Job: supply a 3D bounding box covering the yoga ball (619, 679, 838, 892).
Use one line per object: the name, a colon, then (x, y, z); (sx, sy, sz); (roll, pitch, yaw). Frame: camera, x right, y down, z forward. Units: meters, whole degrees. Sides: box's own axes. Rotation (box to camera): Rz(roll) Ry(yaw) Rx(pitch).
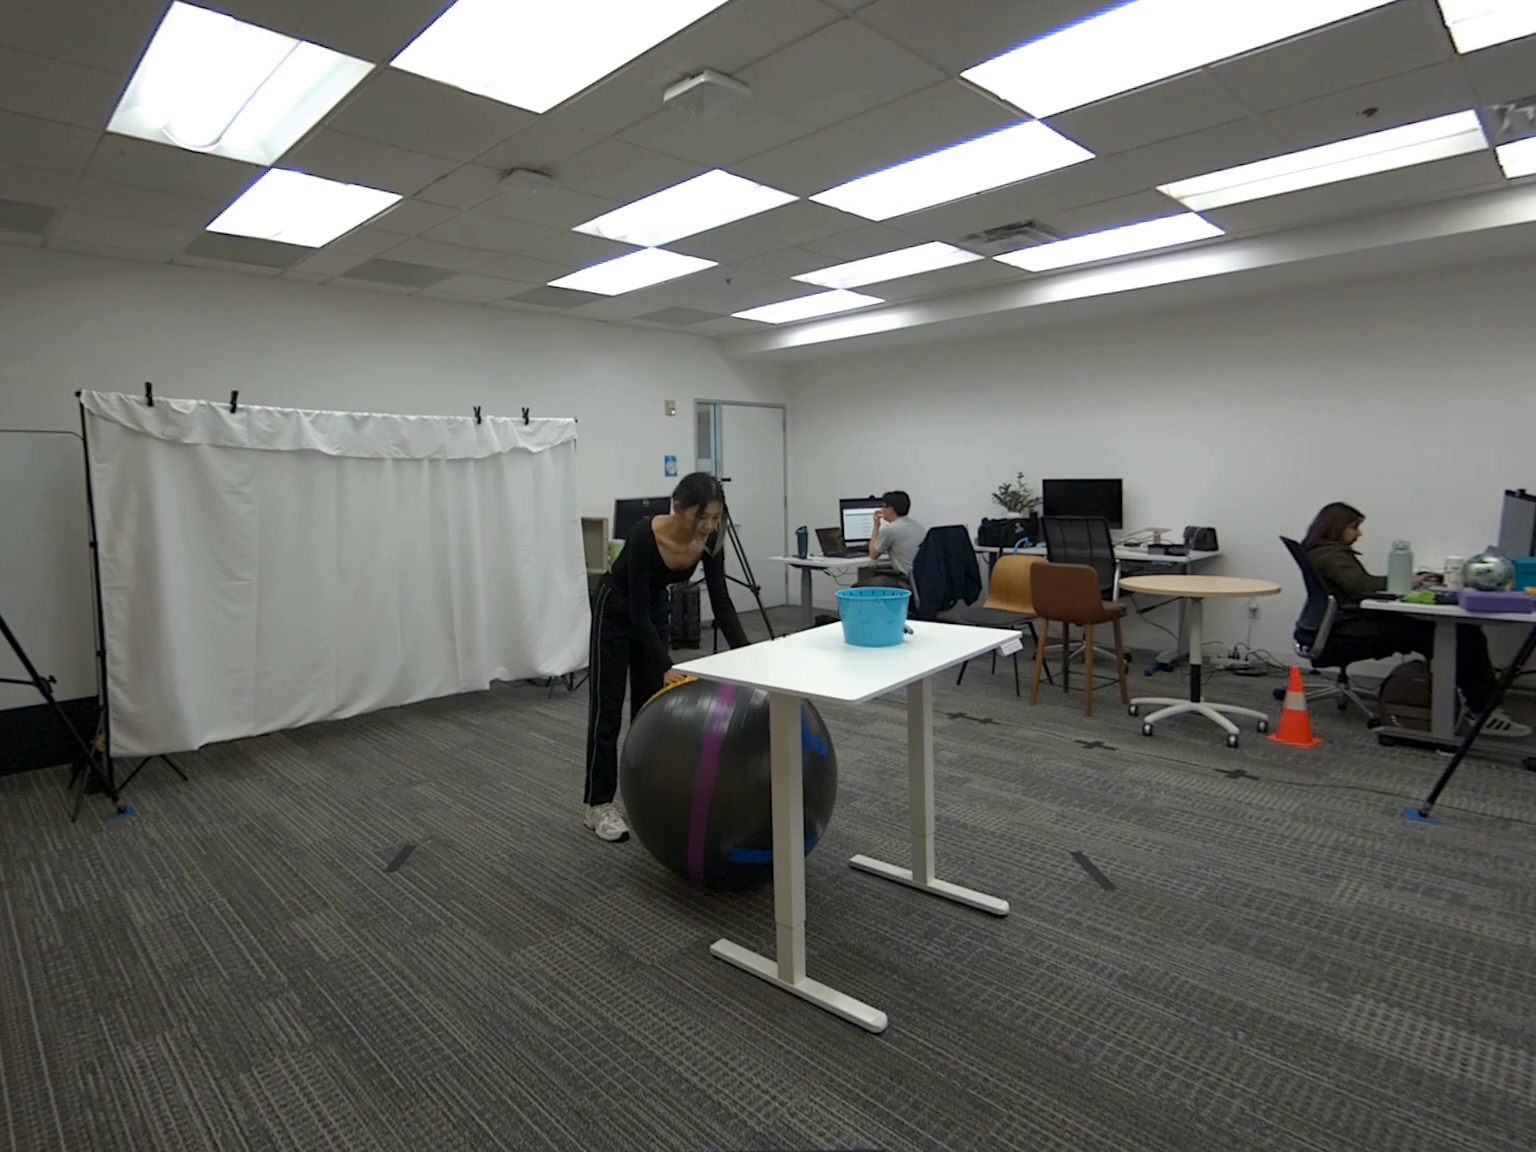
yoga ball: (-0.137, 0.692, 2.992); (0.757, 0.755, 0.762); (-1, 5, -2)
